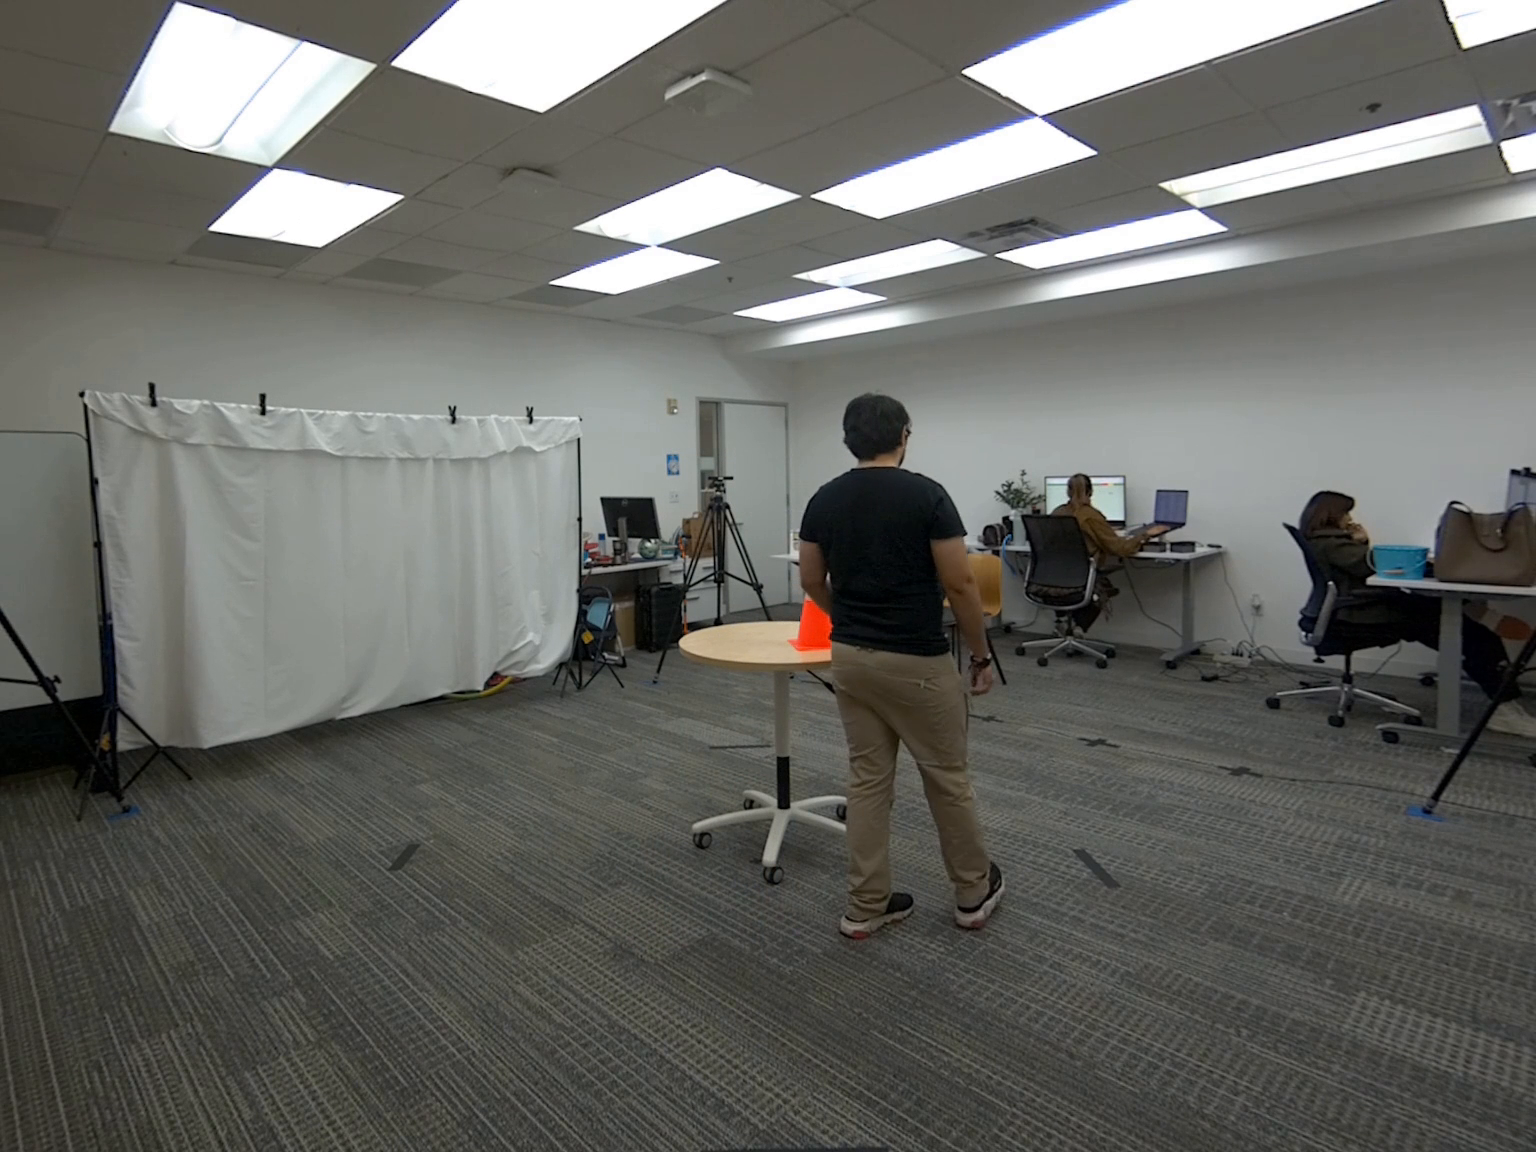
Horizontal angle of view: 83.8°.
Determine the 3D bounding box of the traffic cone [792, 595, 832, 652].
[{"bbox_3d":[0.184,0.062,3.093,0.202,0.382,0.207,-3,5,-15],"label":"traffic cone"}]
